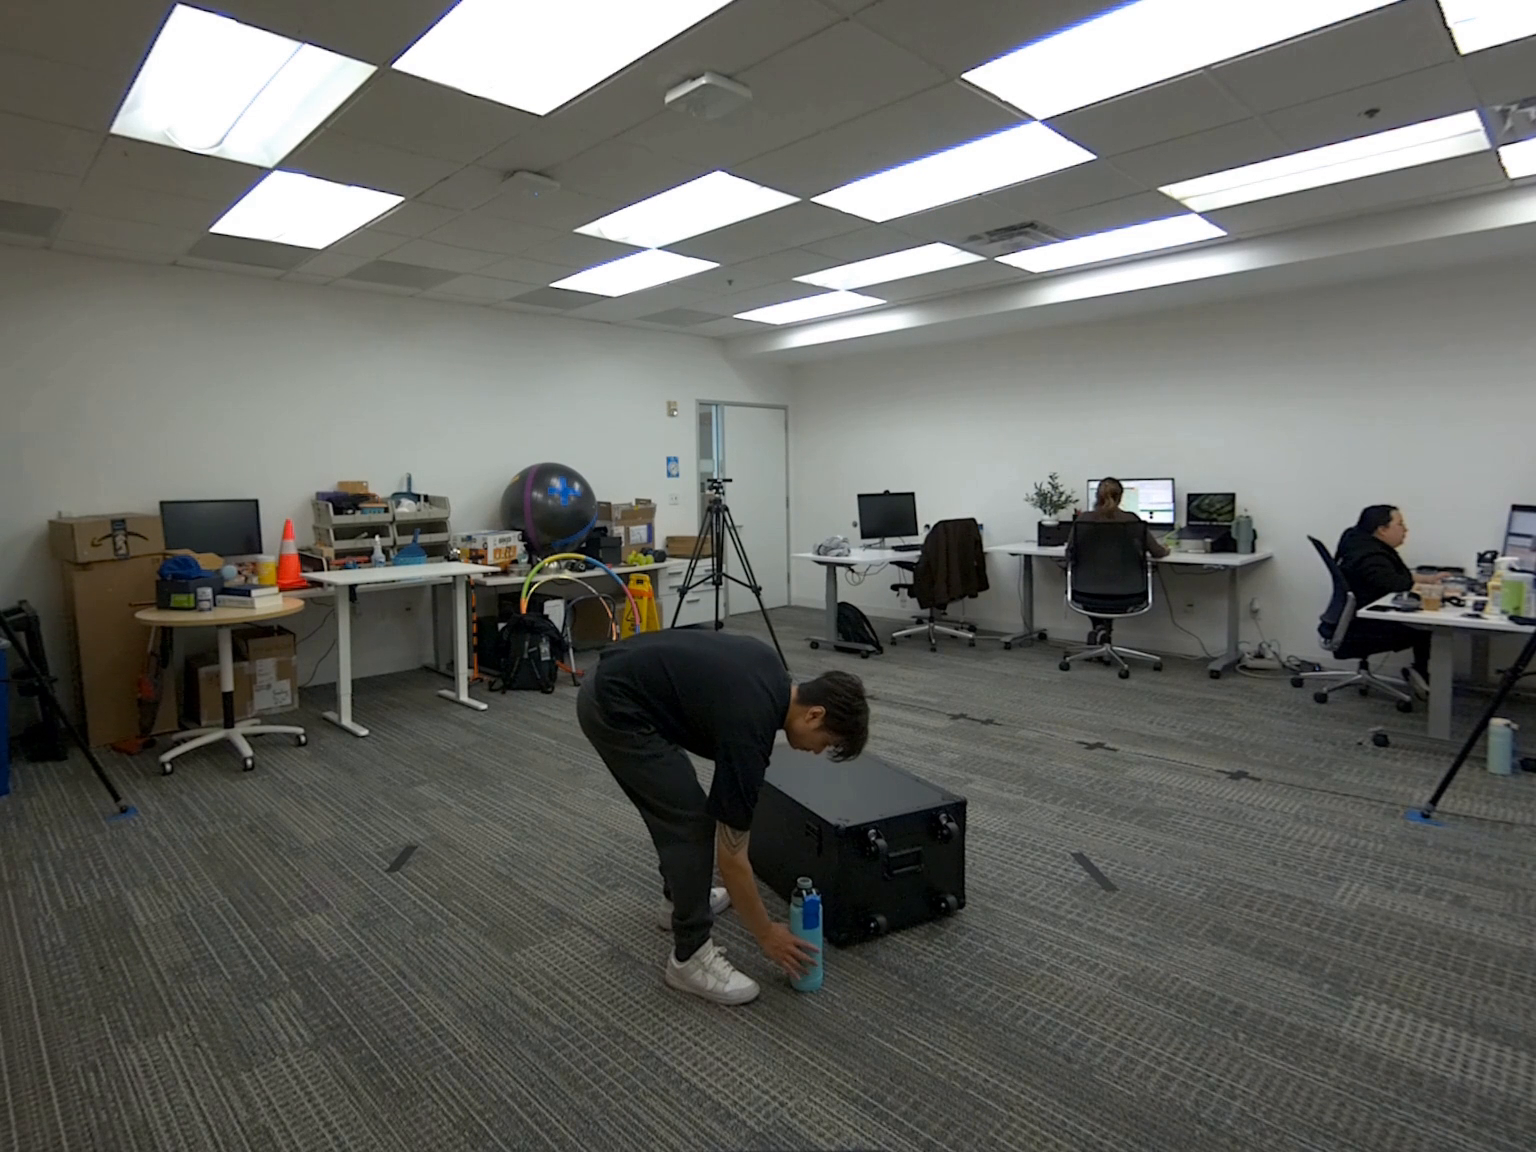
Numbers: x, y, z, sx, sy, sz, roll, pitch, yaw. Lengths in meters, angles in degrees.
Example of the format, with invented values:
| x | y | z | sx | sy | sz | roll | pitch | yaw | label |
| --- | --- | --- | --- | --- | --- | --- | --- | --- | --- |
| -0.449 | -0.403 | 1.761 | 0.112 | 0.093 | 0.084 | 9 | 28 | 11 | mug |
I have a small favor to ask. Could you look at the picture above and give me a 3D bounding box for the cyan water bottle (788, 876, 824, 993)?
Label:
| x | y | z | sx | sy | sz | roll | pitch | yaw | label |
| --- | --- | --- | --- | --- | --- | --- | --- | --- | --- |
| 0.113 | 0.990 | 2.364 | 0.092 | 0.282 | 0.093 | -1 | 5 | -2 | cyan water bottle |
